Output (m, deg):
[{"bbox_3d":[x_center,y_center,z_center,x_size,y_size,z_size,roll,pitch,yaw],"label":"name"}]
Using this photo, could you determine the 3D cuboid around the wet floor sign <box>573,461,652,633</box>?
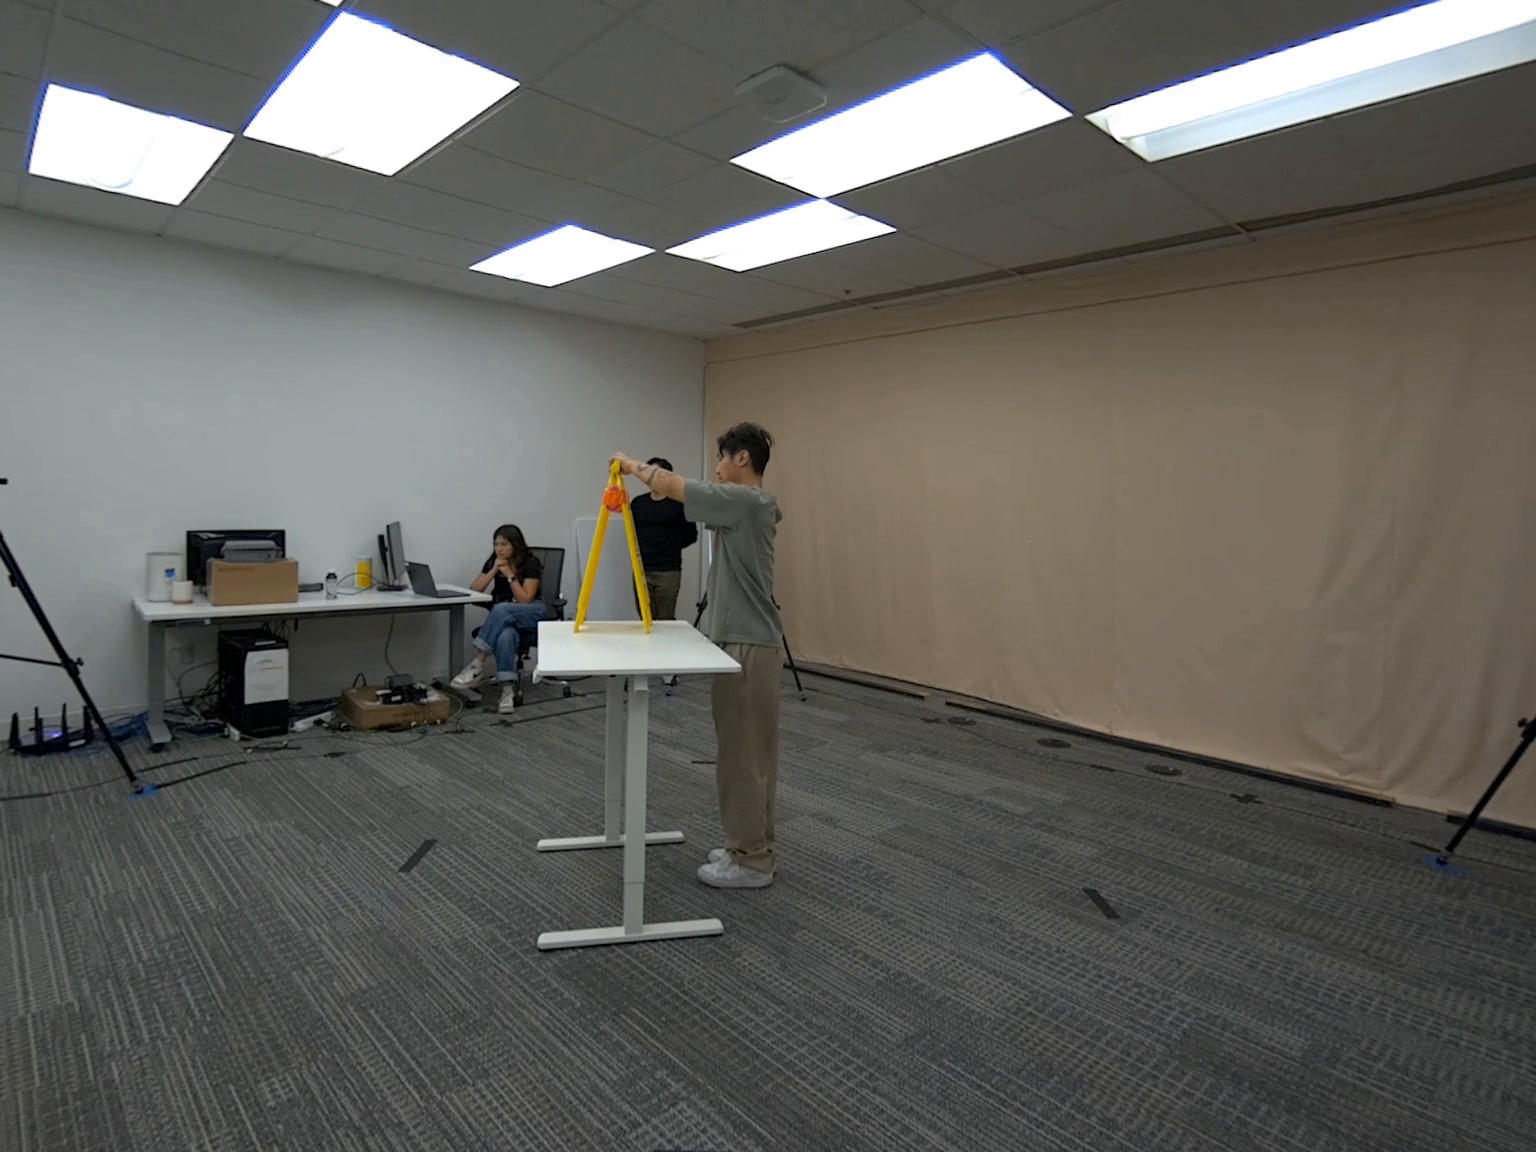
[{"bbox_3d":[-0.593,-0.115,3.253,0.288,0.646,0.283,1,1,-5],"label":"wet floor sign"}]
